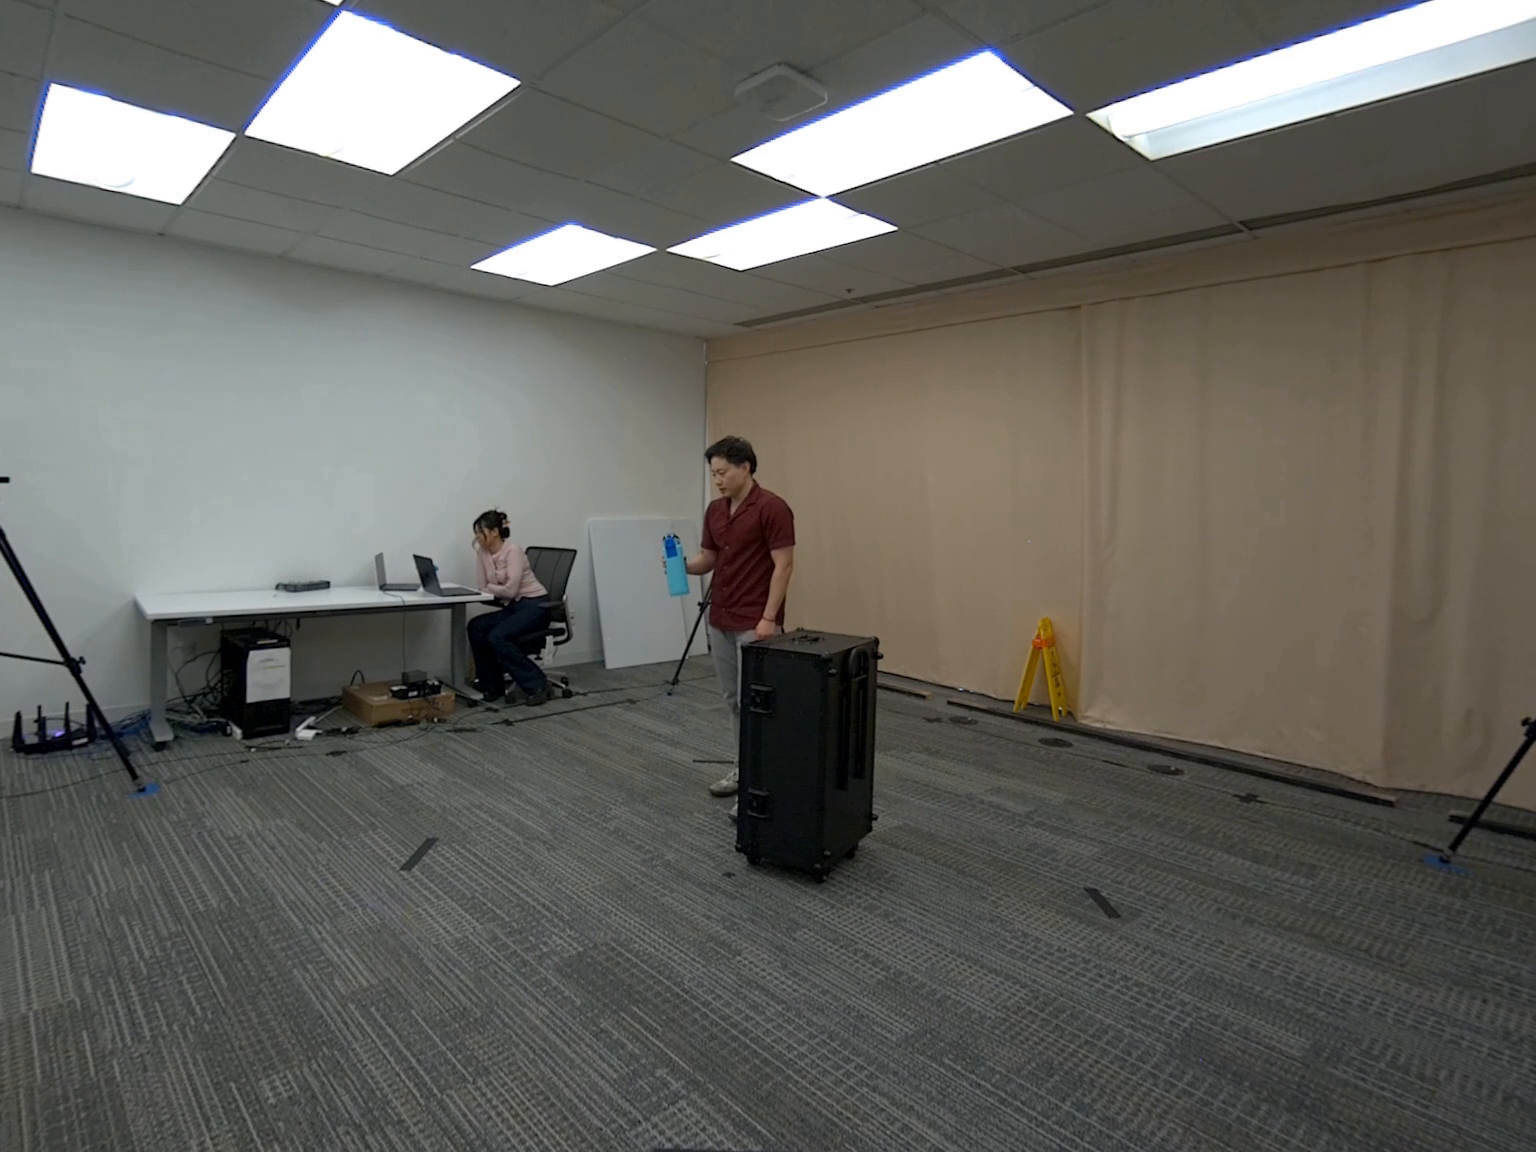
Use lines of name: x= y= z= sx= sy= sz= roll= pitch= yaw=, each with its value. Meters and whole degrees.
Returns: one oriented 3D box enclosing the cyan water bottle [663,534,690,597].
cyan water bottle: x=-0.430 y=-0.056 z=3.786 sx=0.092 sy=0.282 sz=0.092 roll=-6 pitch=4 yaw=-1
